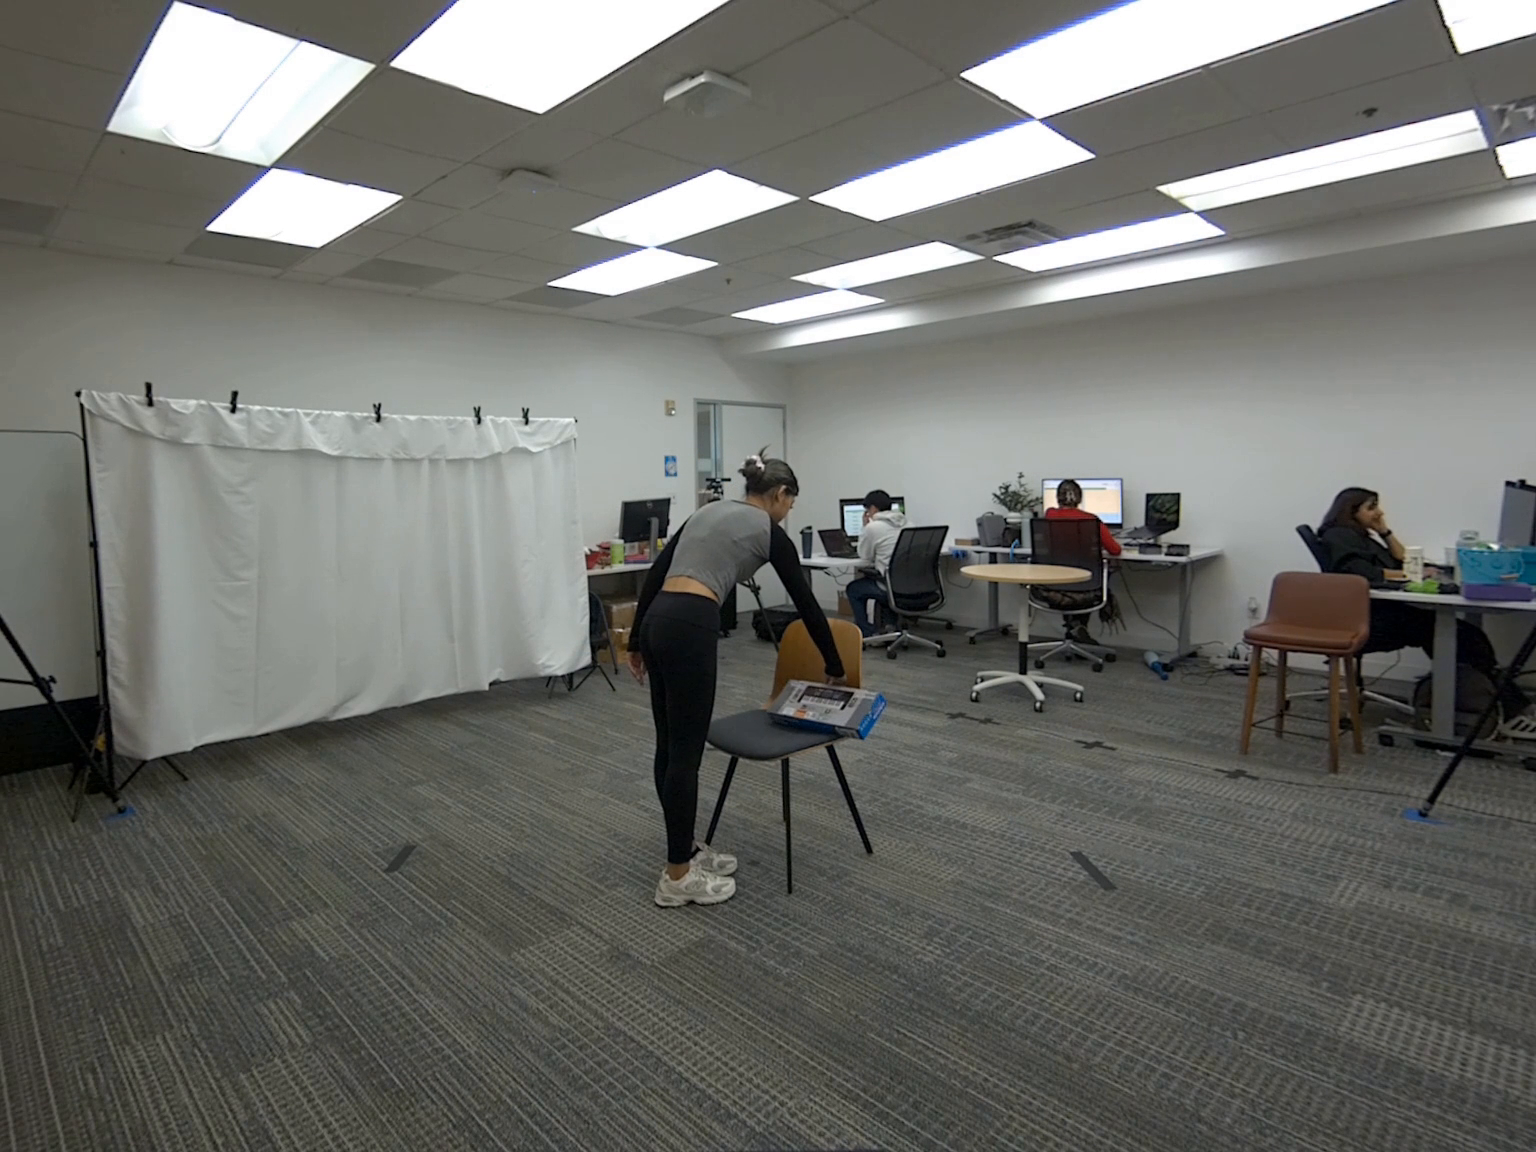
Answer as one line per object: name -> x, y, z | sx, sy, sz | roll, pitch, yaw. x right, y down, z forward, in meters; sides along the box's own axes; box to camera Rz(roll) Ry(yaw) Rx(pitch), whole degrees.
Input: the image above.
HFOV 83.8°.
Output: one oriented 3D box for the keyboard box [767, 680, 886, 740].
keyboard box -> 0.201, 0.484, 3.104 | 0.449, 0.057, 0.176 | 1, 41, 47
